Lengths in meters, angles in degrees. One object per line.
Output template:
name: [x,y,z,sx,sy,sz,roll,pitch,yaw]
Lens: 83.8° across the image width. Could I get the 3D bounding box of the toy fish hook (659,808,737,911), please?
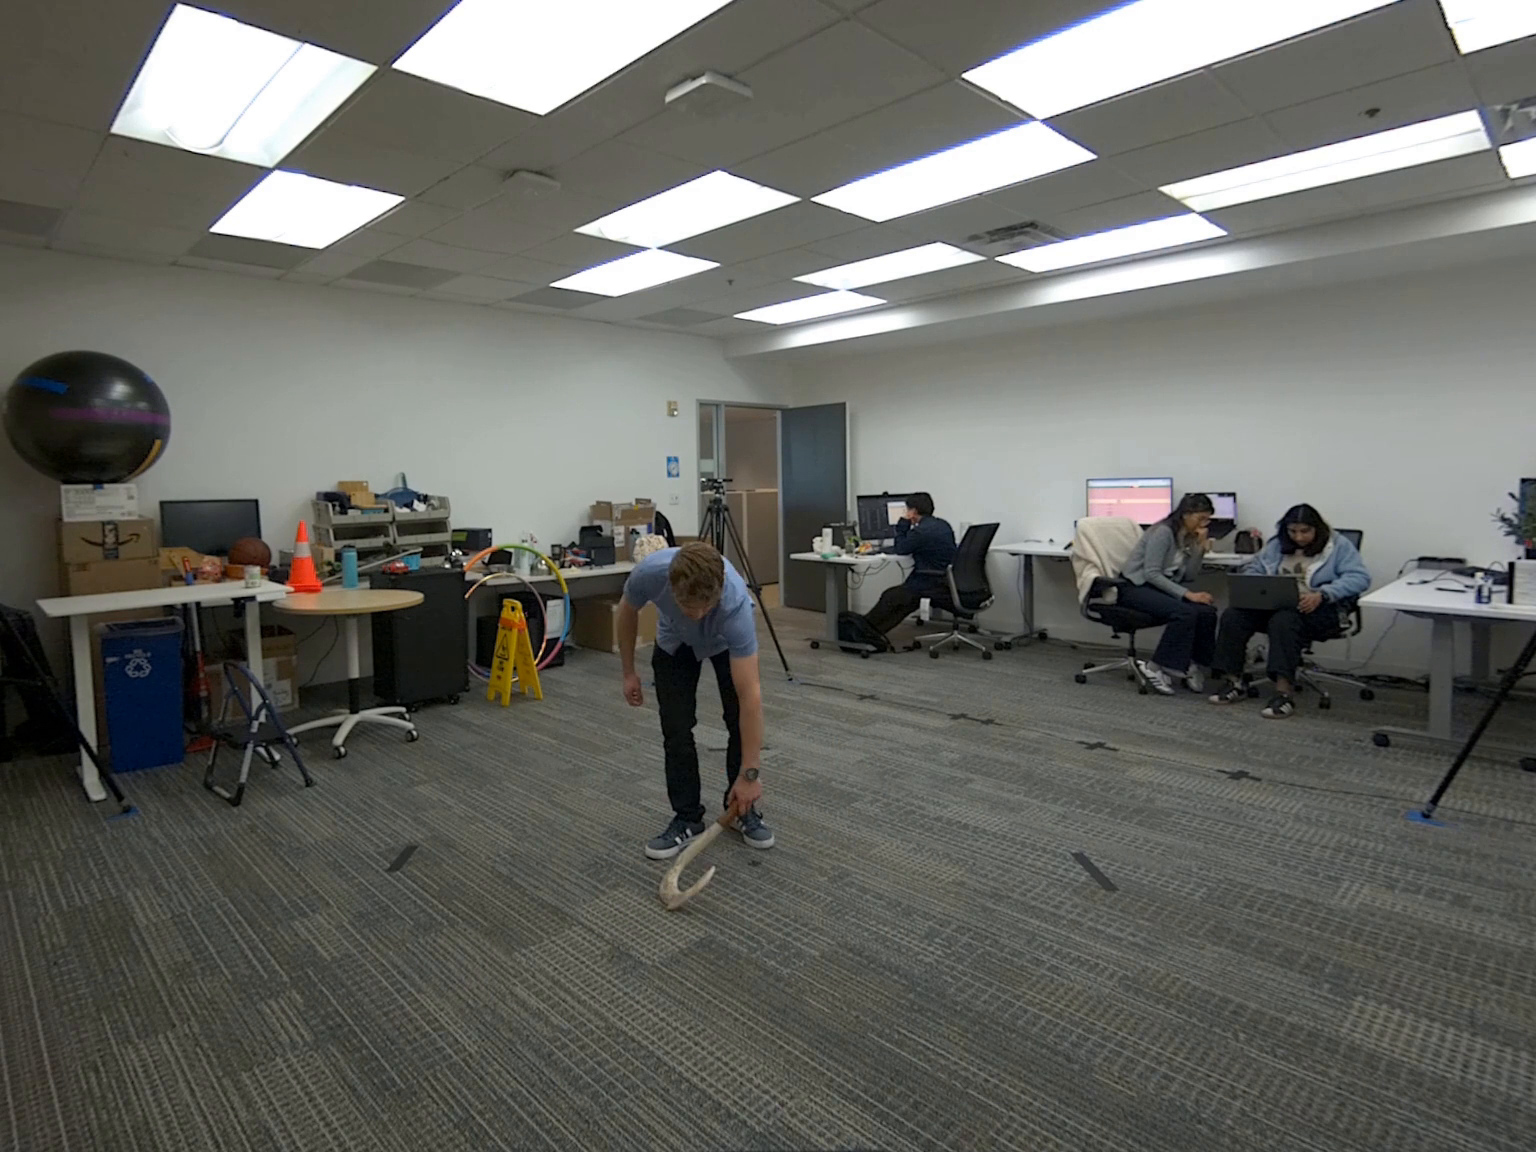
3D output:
toy fish hook: [-0.168,0.902,2.876,0.507,0.047,0.231,-49,25,-15]
